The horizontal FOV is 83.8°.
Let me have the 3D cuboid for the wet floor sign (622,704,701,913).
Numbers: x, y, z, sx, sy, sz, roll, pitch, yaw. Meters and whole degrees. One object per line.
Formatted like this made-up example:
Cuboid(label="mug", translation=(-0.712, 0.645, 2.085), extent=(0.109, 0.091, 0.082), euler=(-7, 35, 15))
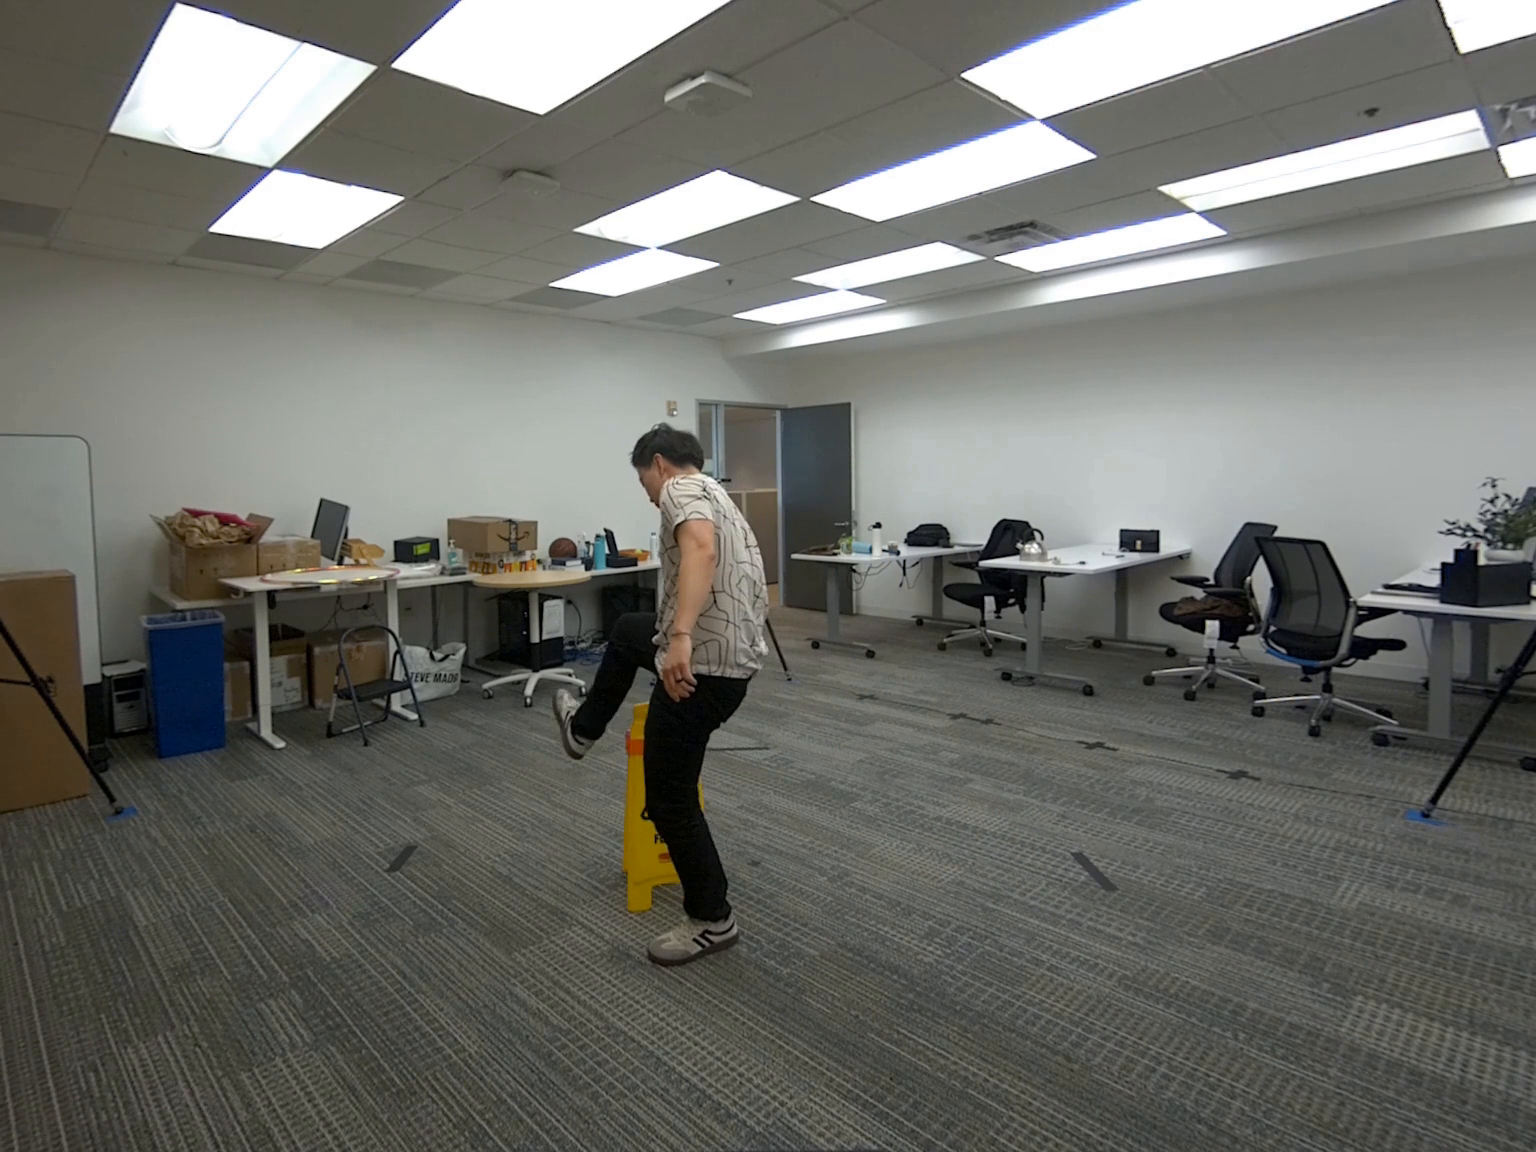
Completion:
Cuboid(label="wet floor sign", translation=(-0.351, 0.748, 2.914), extent=(0.279, 0.644, 0.294), euler=(-2, 4, -12))
